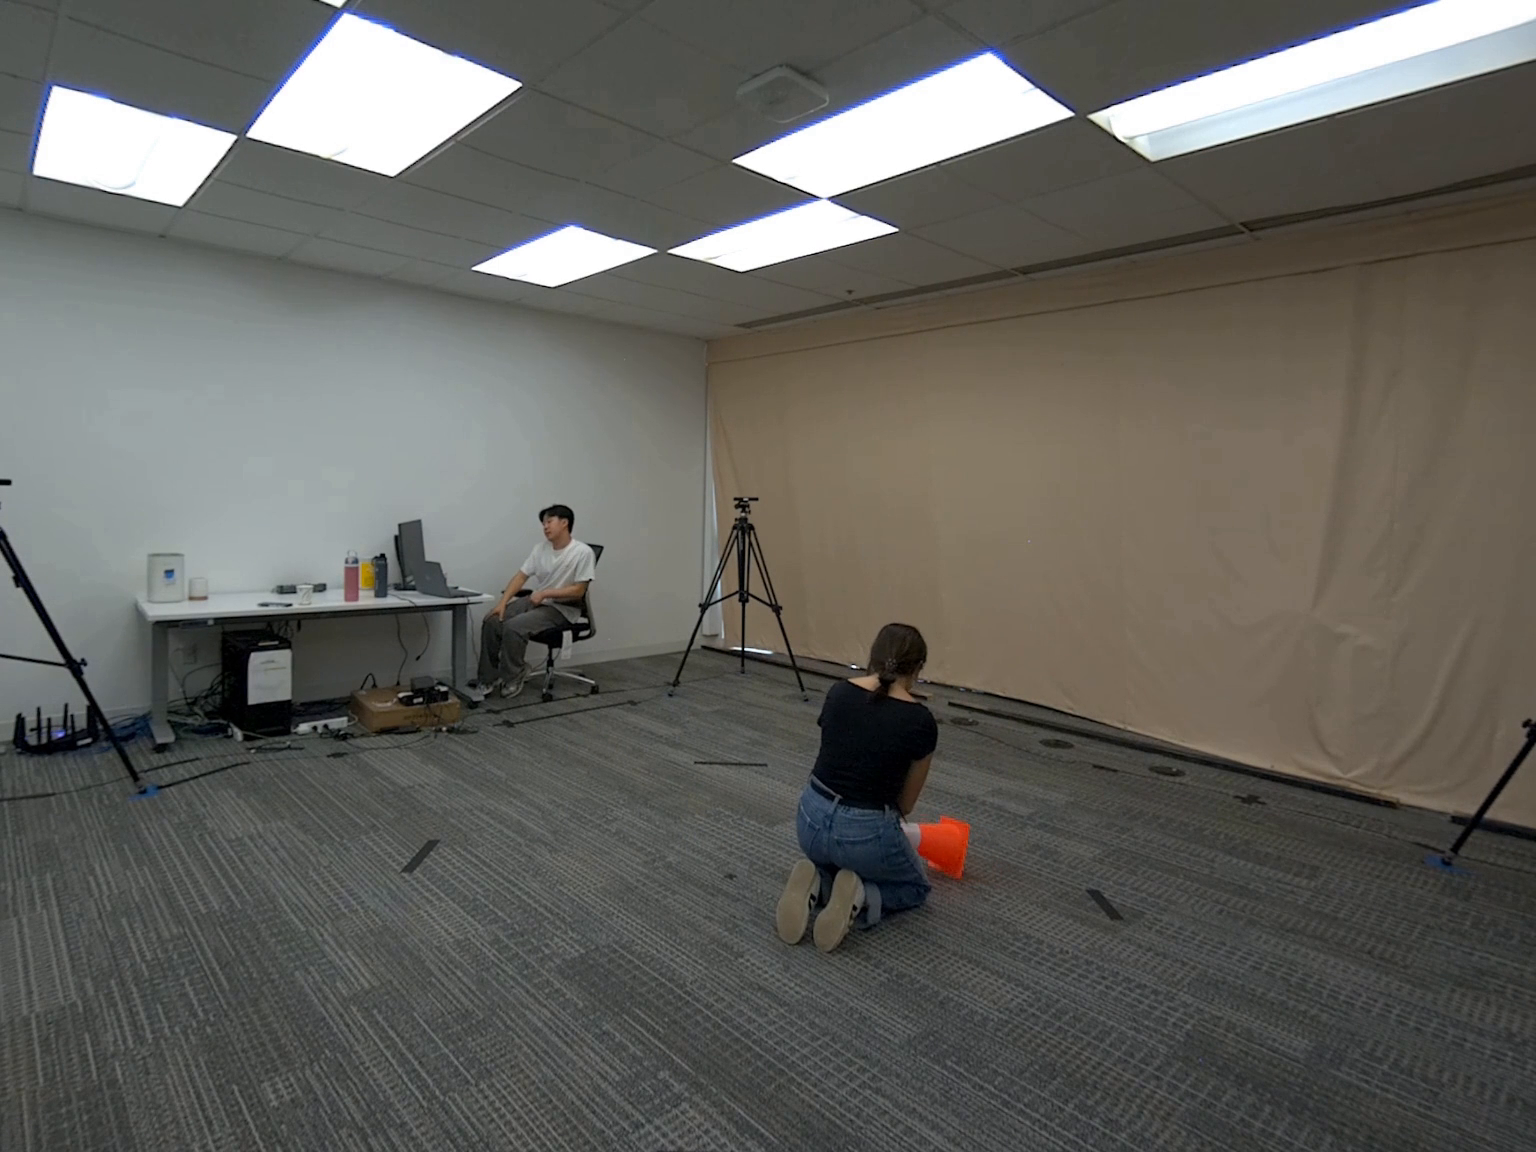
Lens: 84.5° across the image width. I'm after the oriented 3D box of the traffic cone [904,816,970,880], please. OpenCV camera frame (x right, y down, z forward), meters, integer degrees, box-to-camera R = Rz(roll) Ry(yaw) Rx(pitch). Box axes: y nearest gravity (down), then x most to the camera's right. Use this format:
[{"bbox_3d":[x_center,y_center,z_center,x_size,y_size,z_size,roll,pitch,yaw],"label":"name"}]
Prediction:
[{"bbox_3d":[0.514,0.975,3.134,0.377,0.204,0.208,15,-7,-19],"label":"traffic cone"}]
